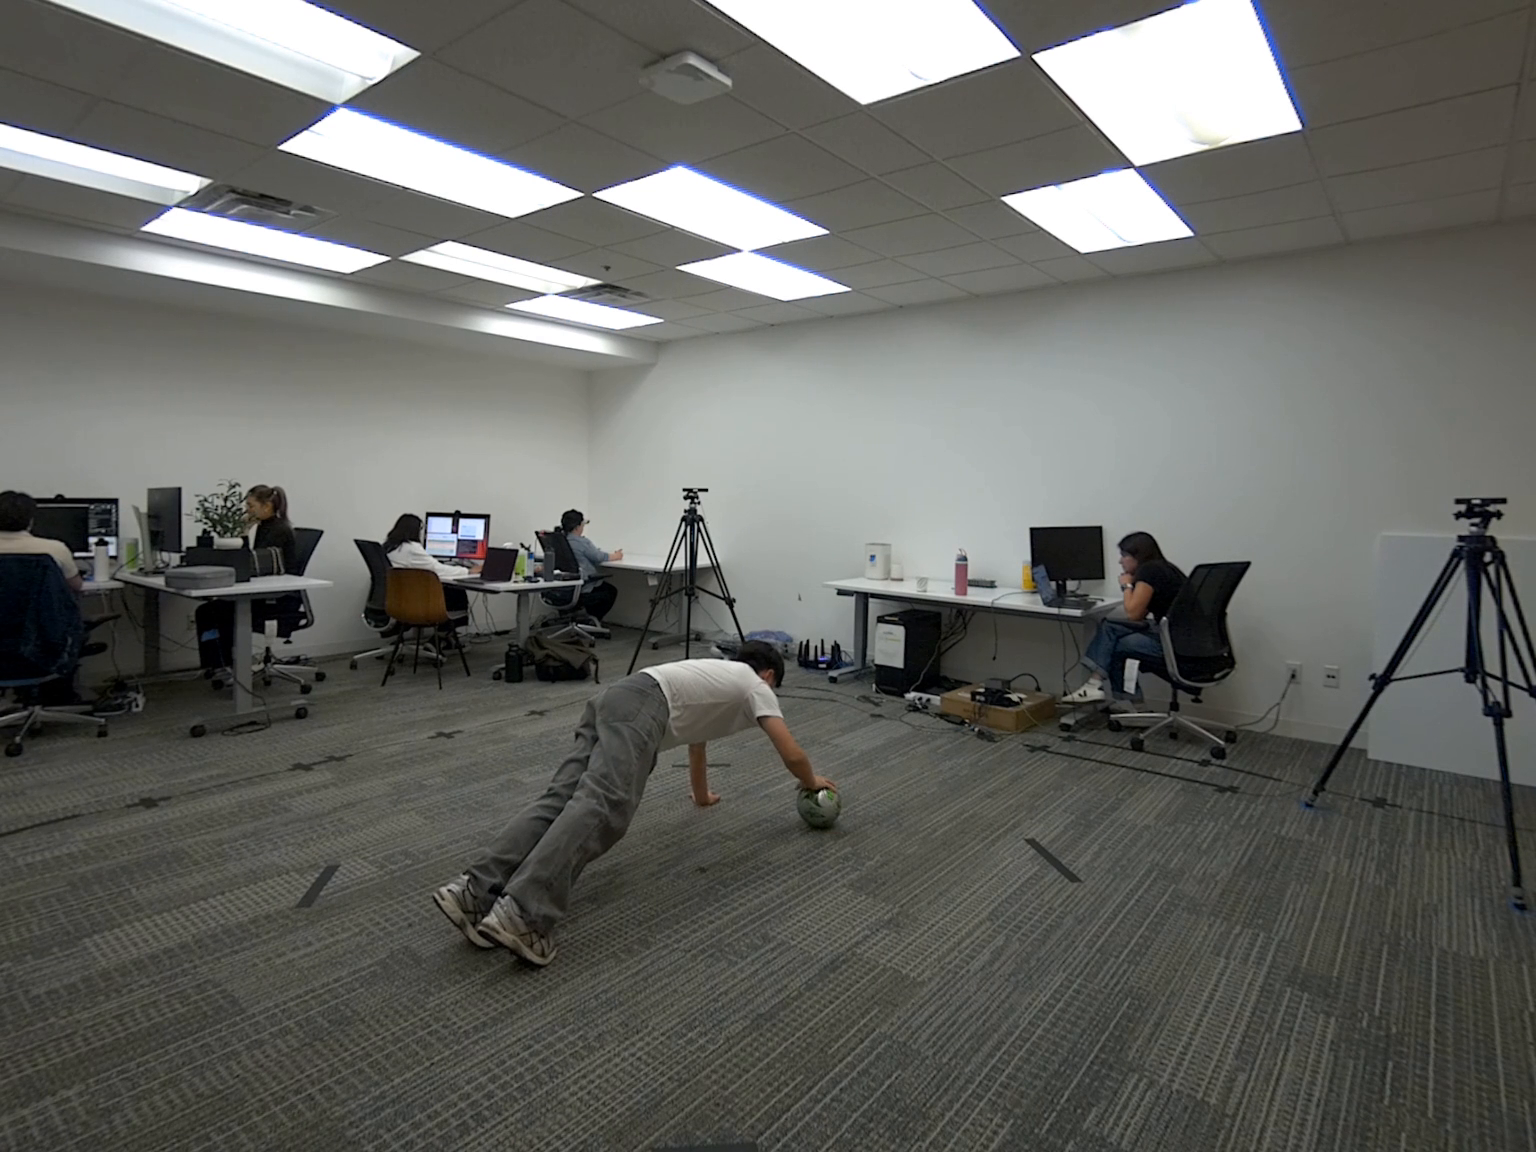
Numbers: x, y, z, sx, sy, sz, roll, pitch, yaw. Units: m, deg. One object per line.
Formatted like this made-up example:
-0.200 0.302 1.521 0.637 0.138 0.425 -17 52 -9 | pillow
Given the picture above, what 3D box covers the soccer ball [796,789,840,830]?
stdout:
0.204 0.942 3.549 0.187 0.187 0.188 1 4 -2 | soccer ball
